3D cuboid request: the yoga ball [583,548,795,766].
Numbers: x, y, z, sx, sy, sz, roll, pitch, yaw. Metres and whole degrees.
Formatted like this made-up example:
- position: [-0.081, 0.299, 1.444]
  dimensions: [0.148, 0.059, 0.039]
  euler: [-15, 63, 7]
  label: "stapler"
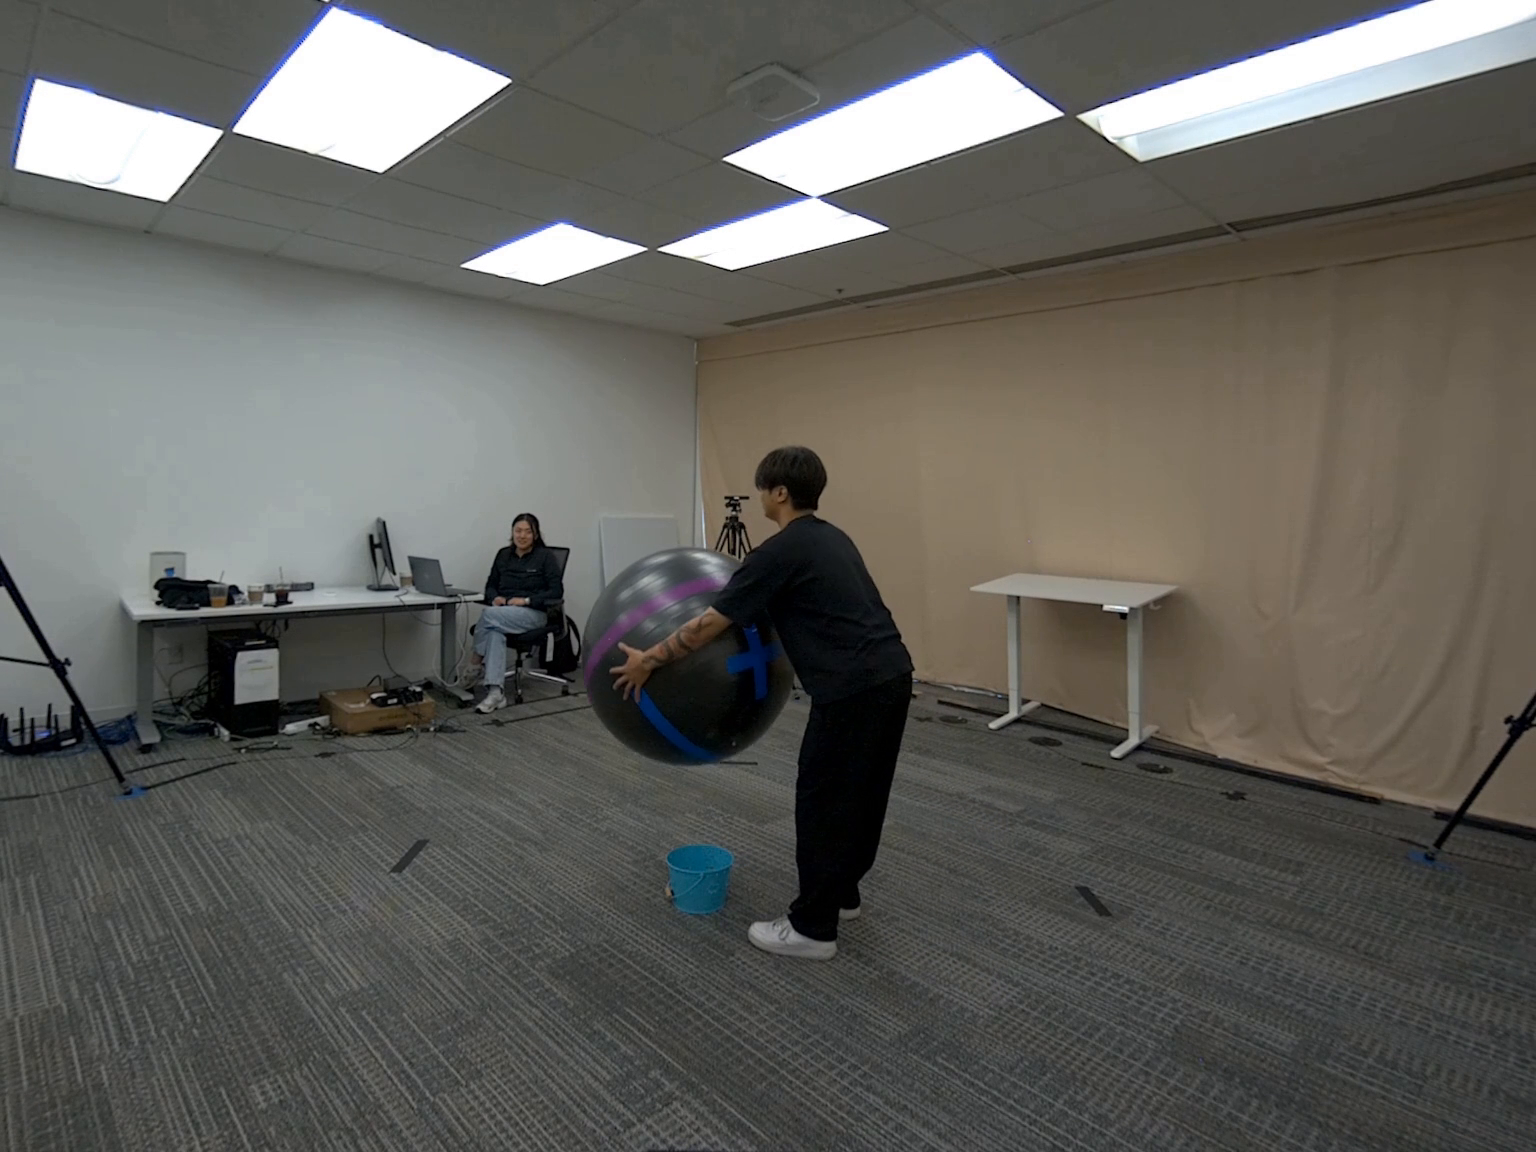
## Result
- position: [-0.286, 0.278, 2.988]
  dimensions: [0.757, 0.756, 0.761]
  euler: [1, 4, -1]
  label: "yoga ball"
